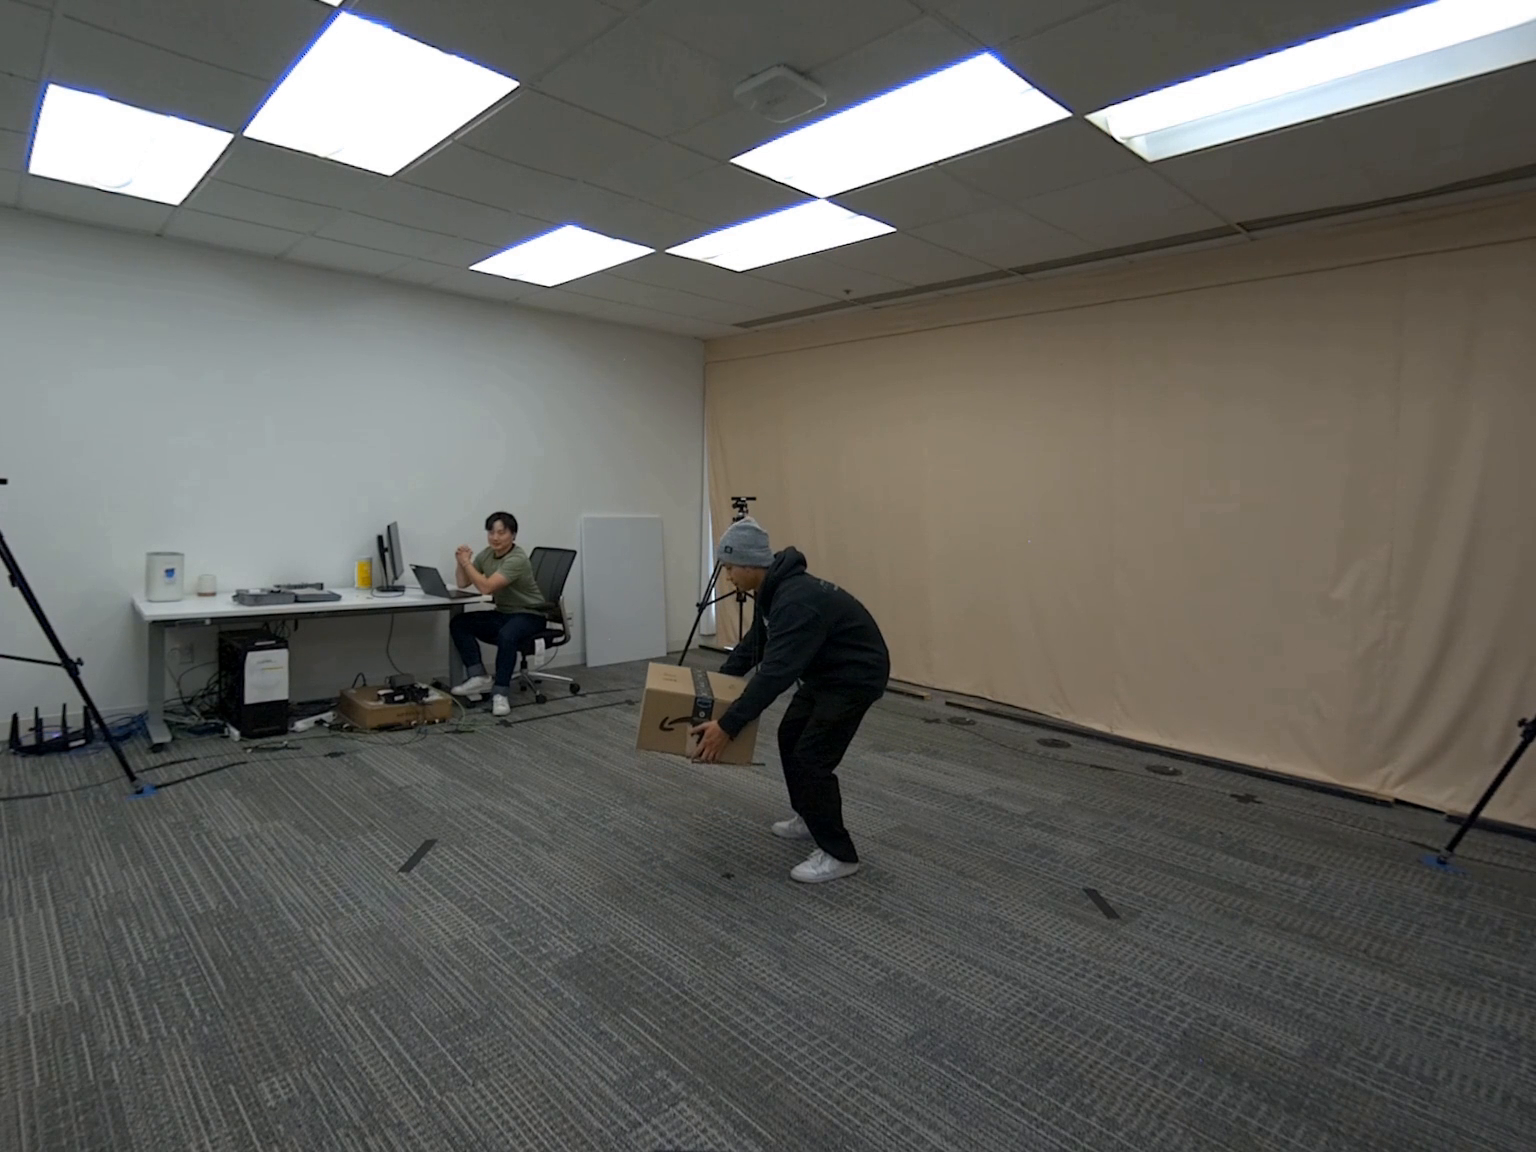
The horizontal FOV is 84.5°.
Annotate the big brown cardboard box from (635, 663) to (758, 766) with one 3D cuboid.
[{"bbox_3d":[-0.278,0.516,3.227,0.416,0.233,0.591,10,1,-5],"label":"big brown cardboard box"}]
